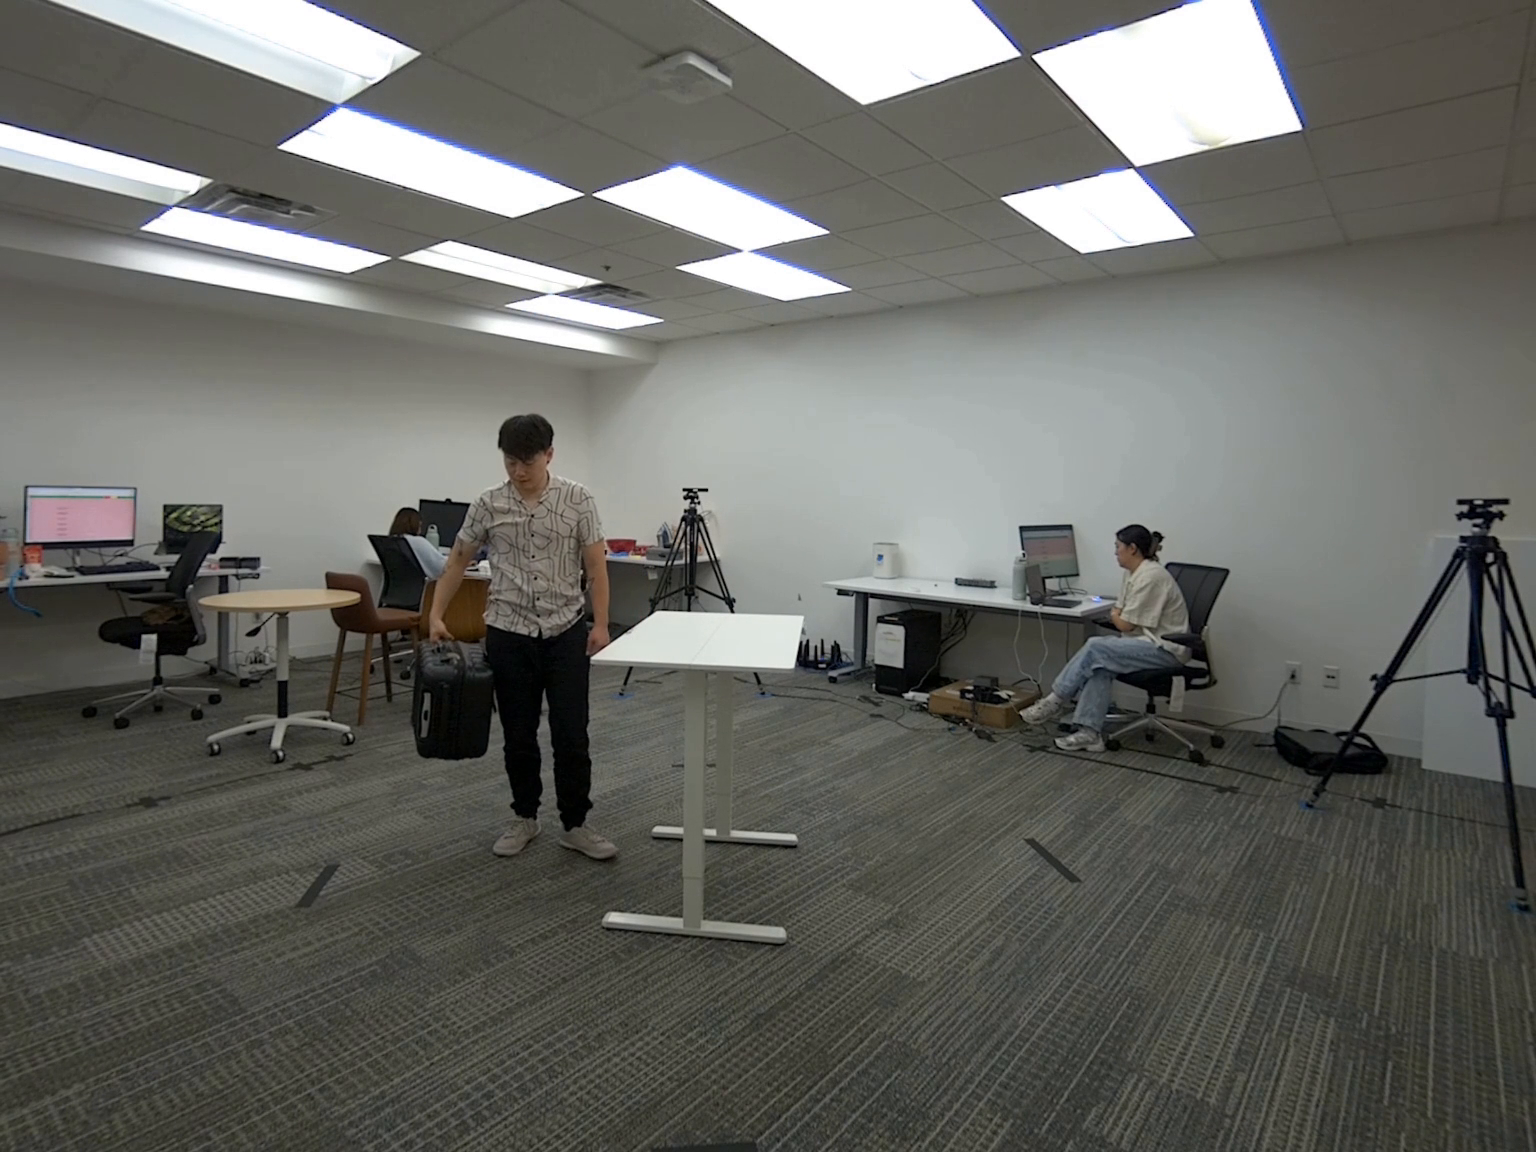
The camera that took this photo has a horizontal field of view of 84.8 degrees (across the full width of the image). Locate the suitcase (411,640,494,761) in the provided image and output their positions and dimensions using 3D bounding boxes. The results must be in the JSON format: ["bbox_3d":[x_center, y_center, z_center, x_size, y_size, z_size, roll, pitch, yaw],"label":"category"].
[{"bbox_3d":[-1.218,0.448,3.233,0.242,0.374,0.565,6,4,-25],"label":"suitcase"}]
